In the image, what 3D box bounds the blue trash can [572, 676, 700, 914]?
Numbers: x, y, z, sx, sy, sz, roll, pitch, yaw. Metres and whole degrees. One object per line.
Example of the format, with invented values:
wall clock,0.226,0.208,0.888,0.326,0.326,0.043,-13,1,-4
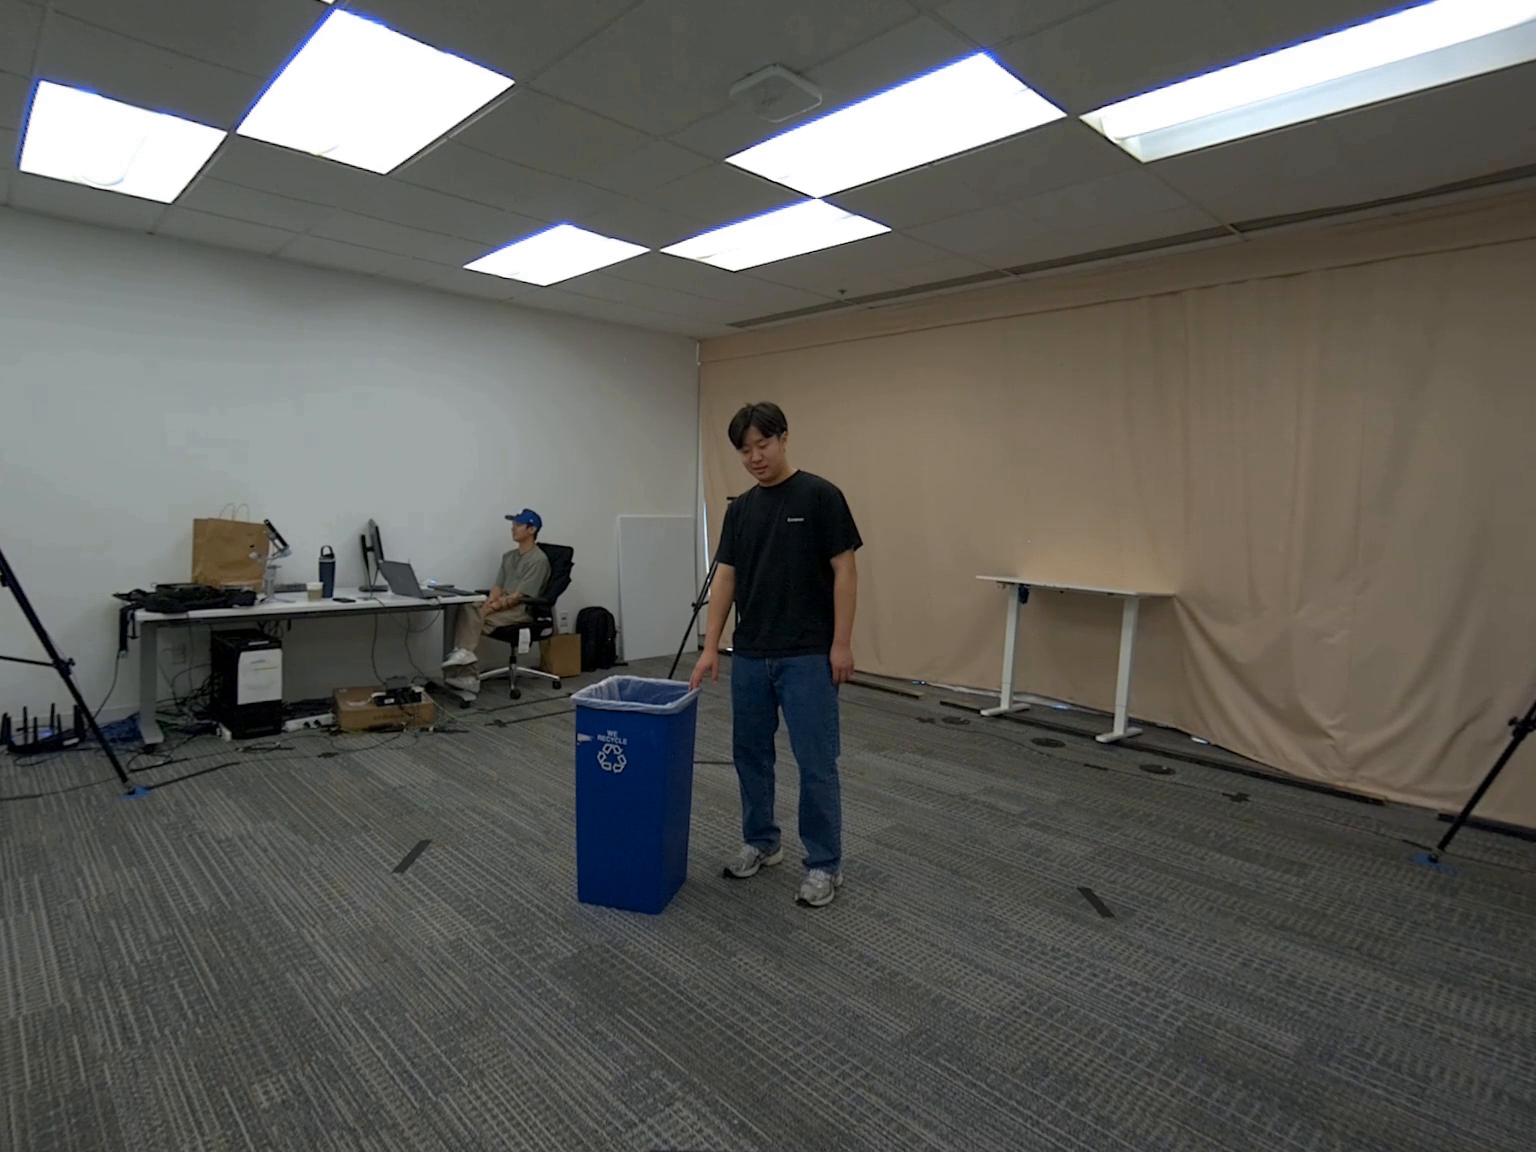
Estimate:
blue trash can,-0.472,0.755,2.955,0.379,0.712,0.374,4,4,15
